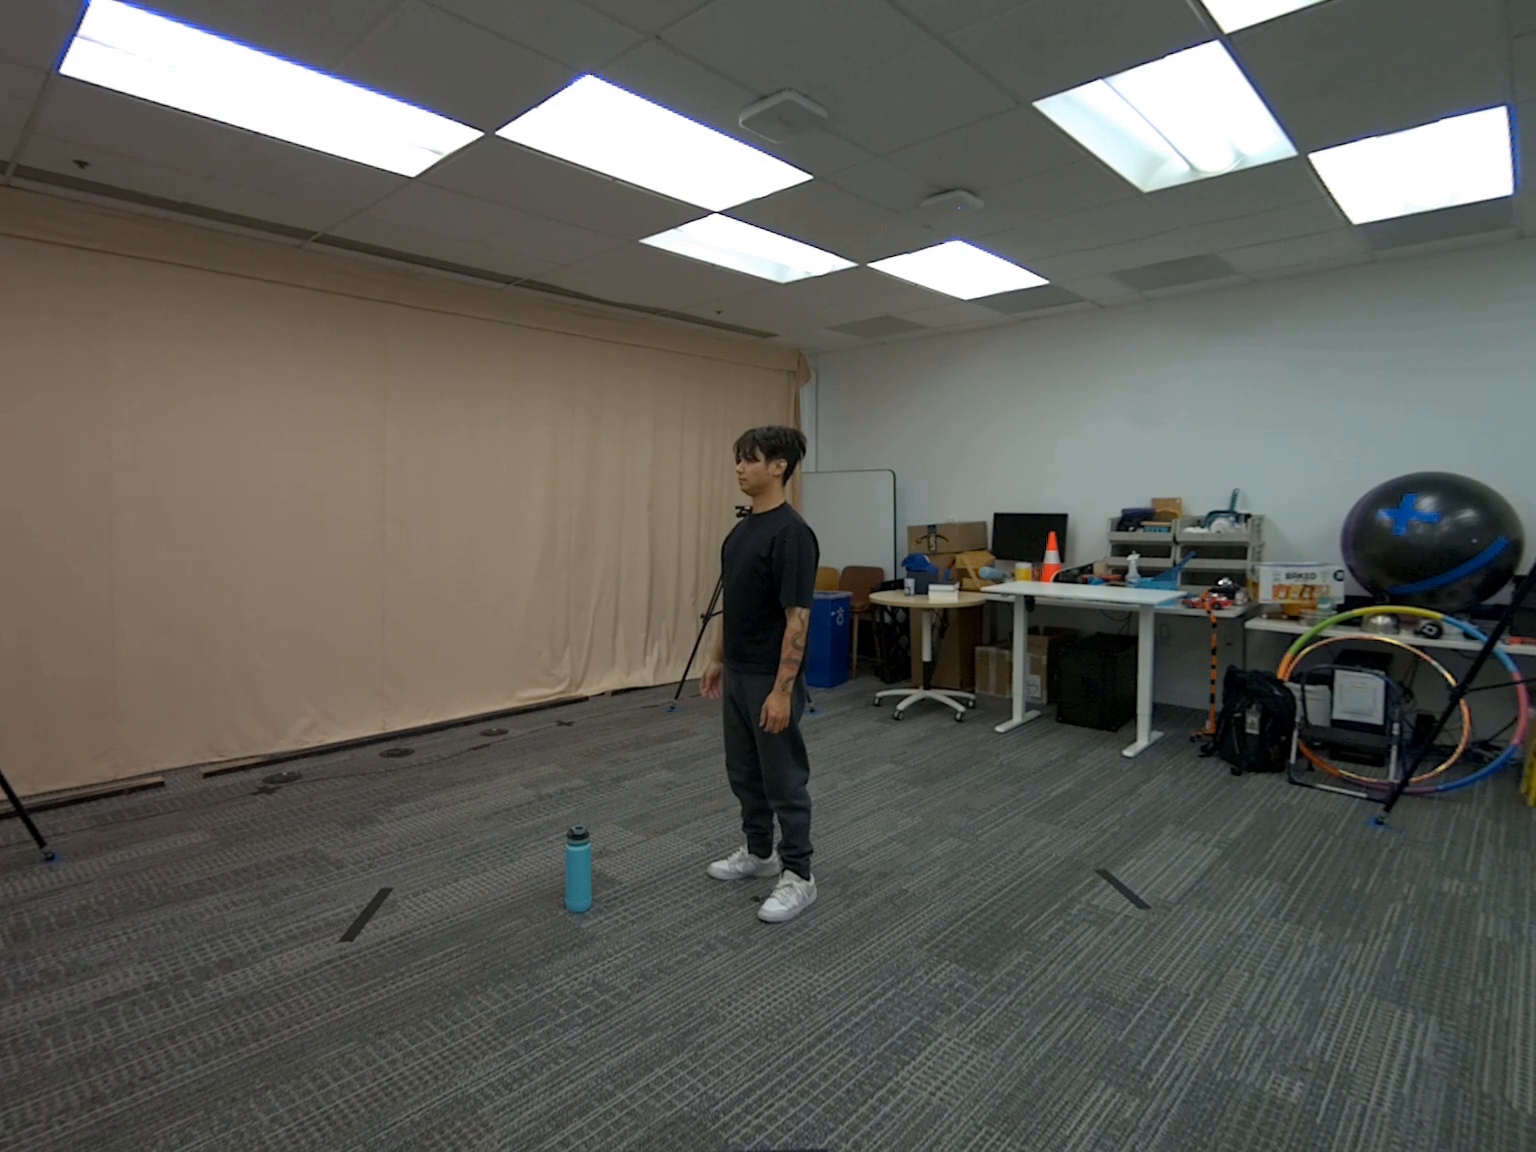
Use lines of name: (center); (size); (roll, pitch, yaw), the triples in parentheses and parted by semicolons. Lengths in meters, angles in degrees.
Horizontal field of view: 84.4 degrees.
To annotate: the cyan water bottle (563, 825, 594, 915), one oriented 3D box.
cyan water bottle: (-0.663, 1.017, 2.933); (0.092, 0.283, 0.092); (0, 2, -2)
